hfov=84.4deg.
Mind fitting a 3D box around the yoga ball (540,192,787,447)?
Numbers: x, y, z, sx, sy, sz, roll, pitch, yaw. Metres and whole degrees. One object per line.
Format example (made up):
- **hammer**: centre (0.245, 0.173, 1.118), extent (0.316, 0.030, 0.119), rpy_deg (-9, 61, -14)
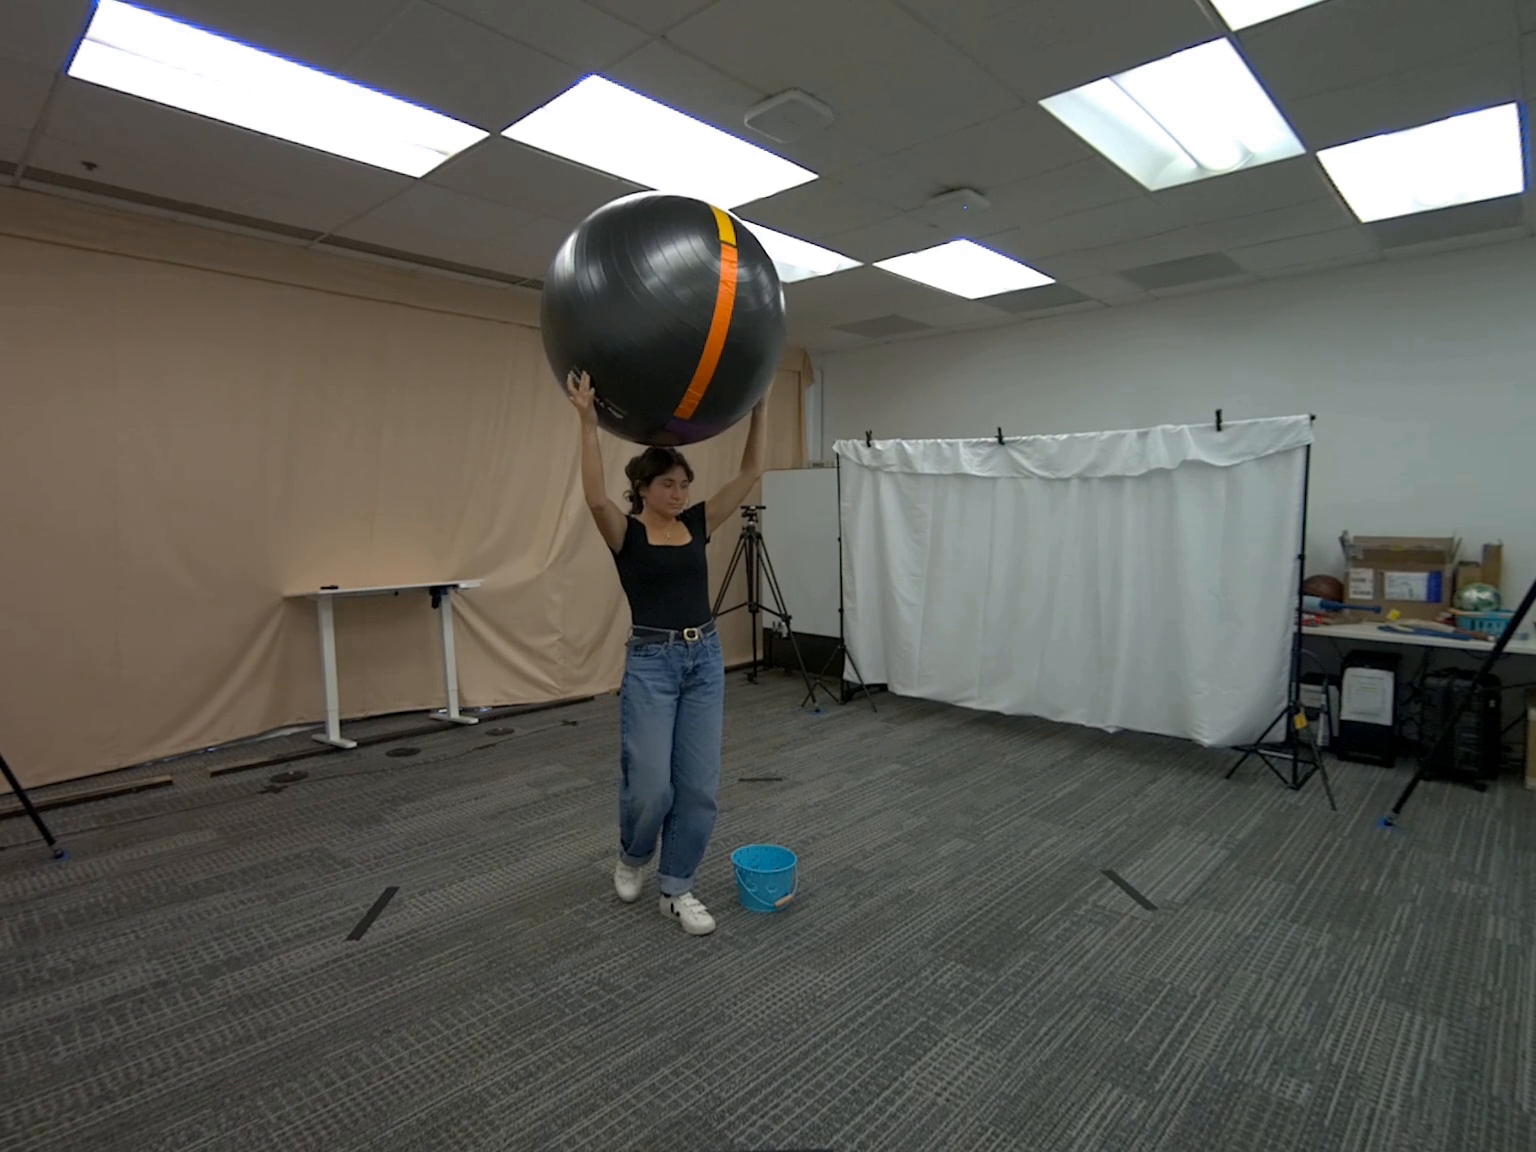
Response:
- **yoga ball**: centre (-0.320, -0.781, 2.610), extent (0.757, 0.756, 0.760), rpy_deg (0, 4, -2)
